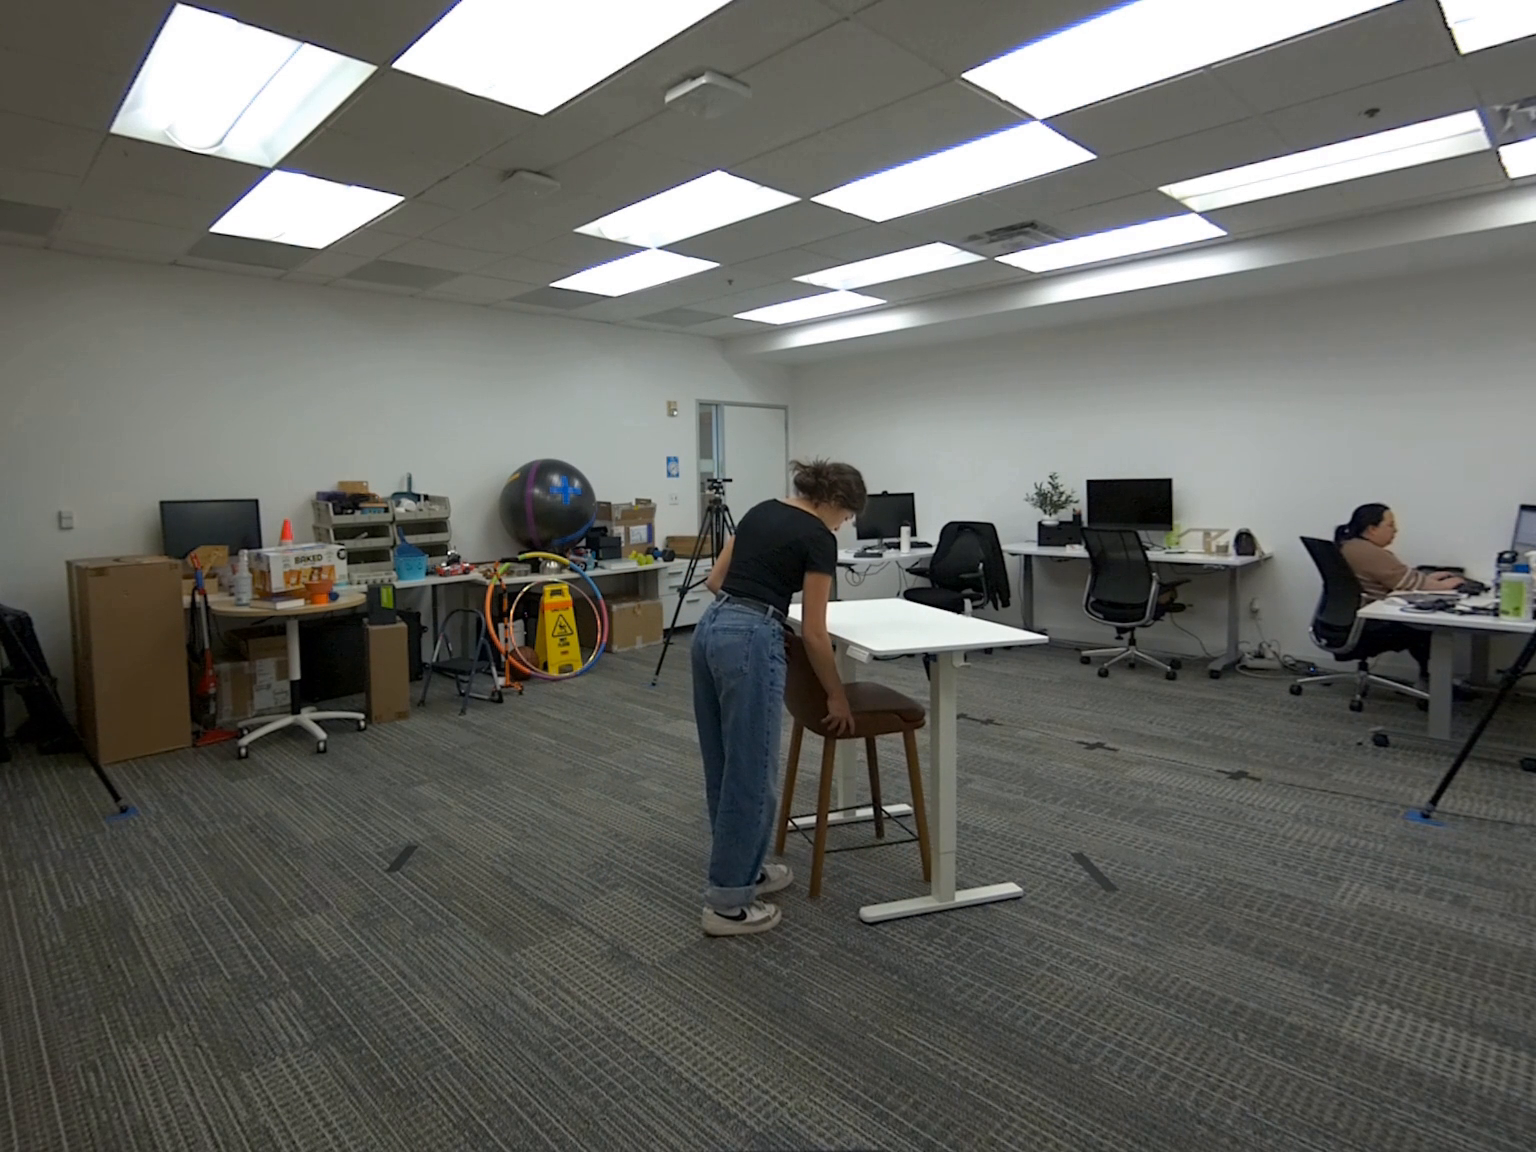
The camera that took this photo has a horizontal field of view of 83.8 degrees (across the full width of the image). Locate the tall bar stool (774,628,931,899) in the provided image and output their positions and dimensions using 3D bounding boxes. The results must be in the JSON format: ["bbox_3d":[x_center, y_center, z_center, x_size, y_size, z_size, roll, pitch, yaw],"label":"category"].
[{"bbox_3d":[0.284,0.614,3.050,0.460,0.886,0.466,-4,5,-18],"label":"tall bar stool"}]
